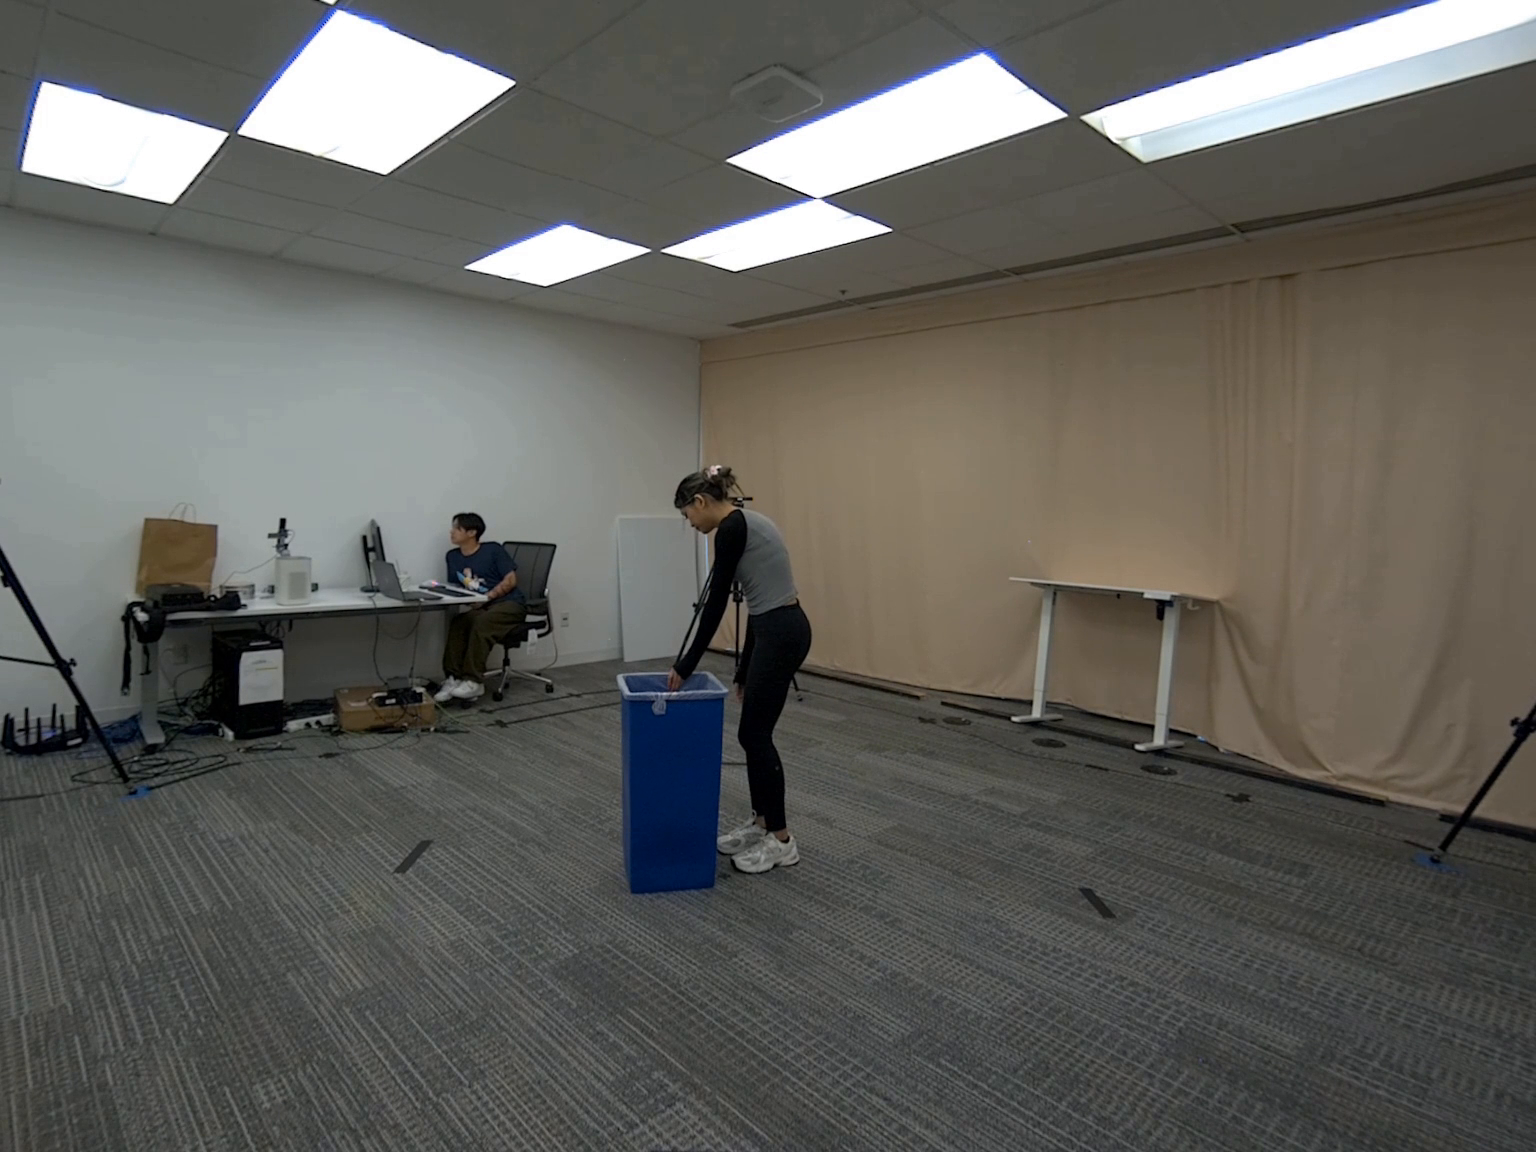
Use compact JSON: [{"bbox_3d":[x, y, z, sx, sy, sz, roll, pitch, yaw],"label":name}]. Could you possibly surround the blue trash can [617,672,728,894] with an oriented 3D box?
[{"bbox_3d":[-0.374,0.745,3.104,0.374,0.712,0.379,1,3,-14],"label":"blue trash can"}]
